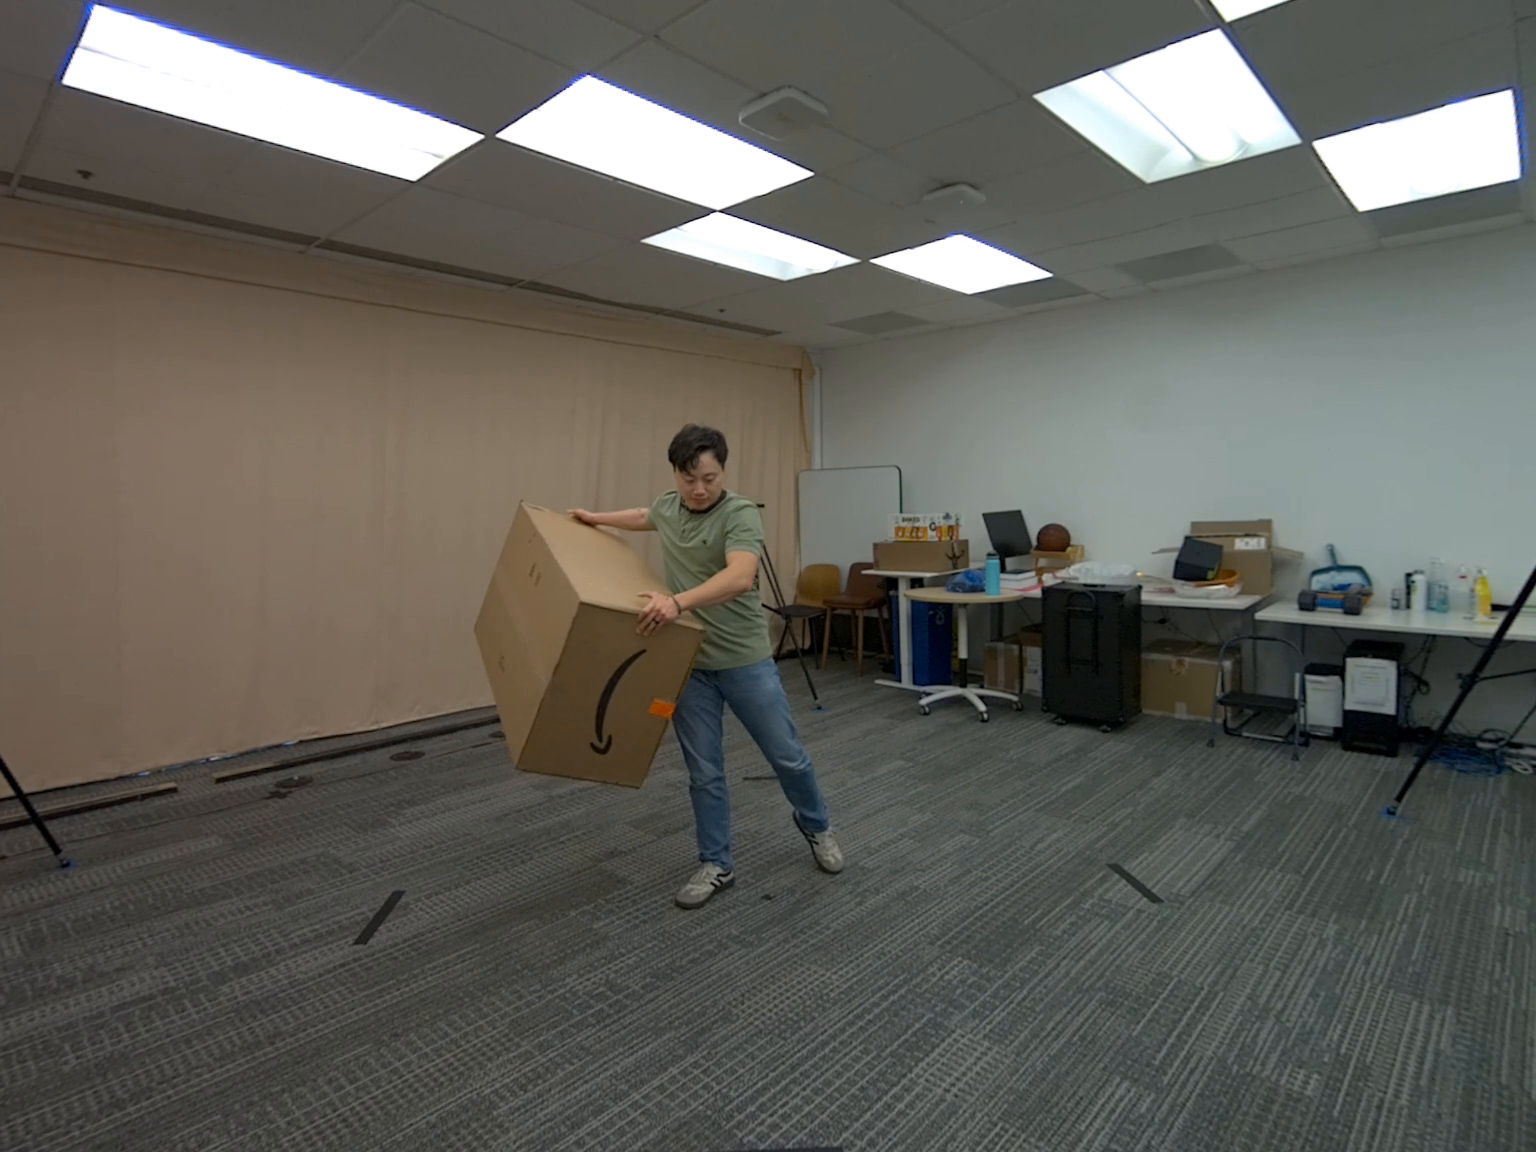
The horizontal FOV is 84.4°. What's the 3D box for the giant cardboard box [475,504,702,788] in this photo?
[{"bbox_3d":[-0.684,0.200,2.995,0.413,0.576,1.060,18,12,-31],"label":"giant cardboard box"}]
